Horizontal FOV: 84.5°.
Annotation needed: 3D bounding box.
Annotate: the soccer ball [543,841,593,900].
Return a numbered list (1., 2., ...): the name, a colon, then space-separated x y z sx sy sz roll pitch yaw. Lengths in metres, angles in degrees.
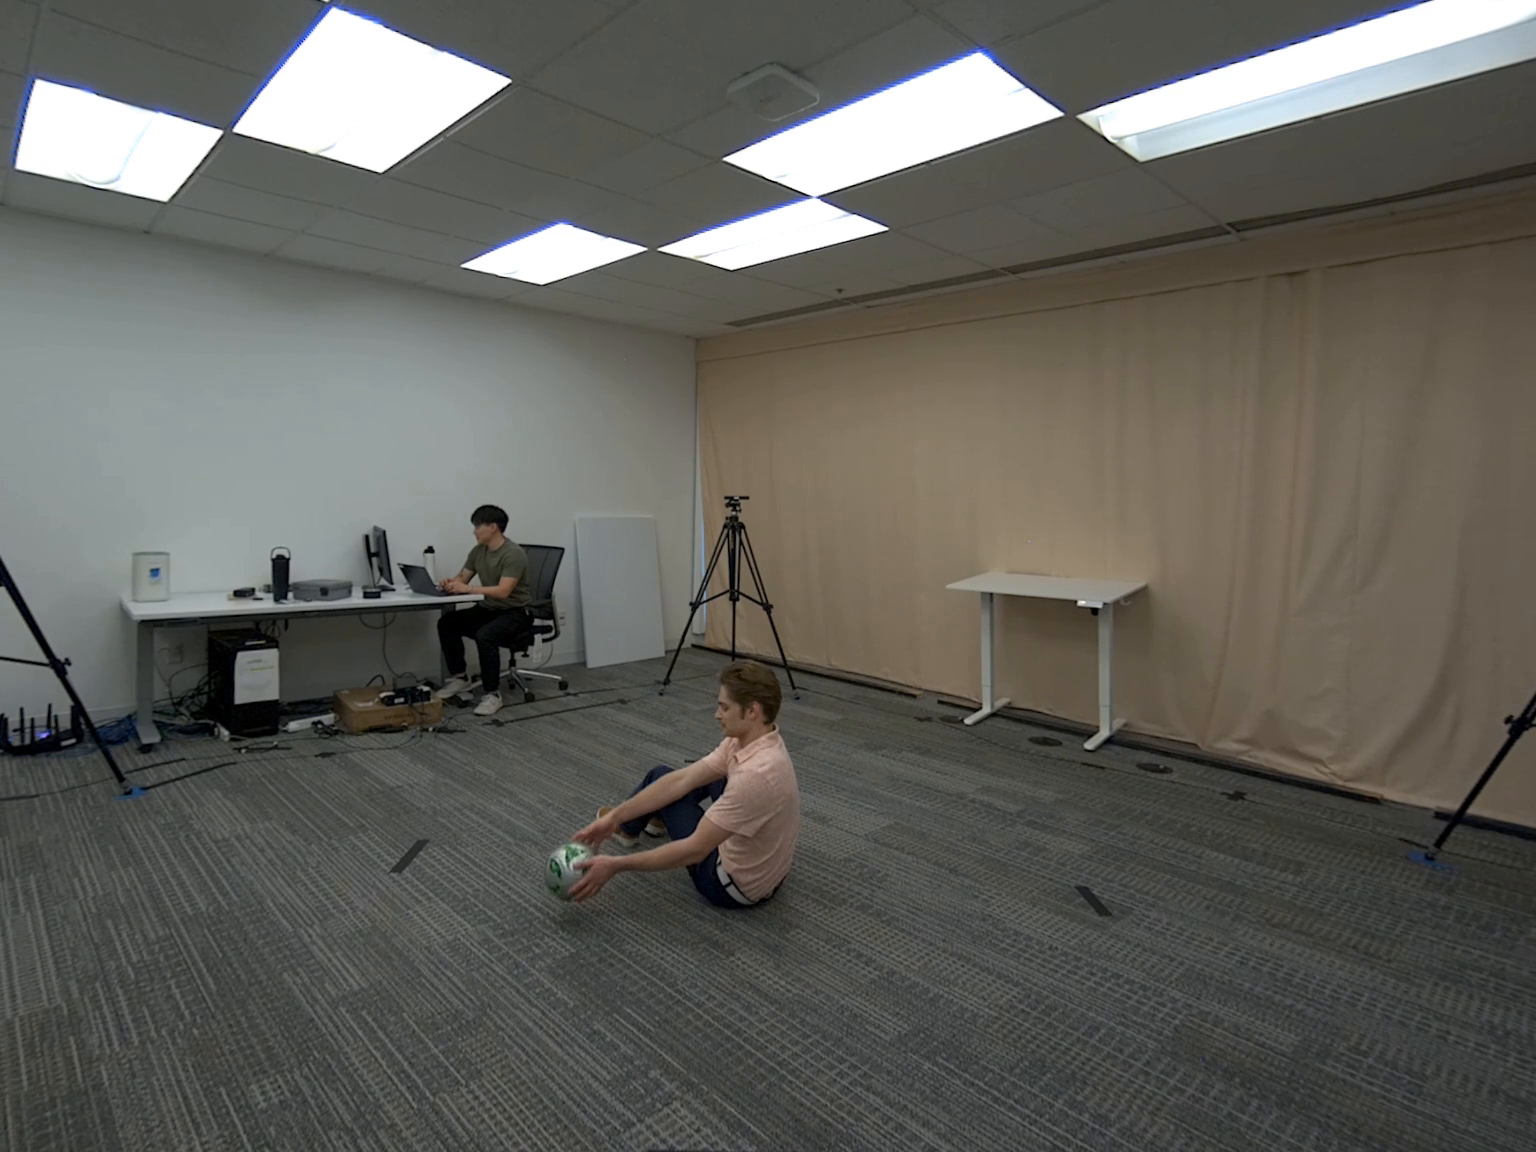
1. soccer ball: -0.642 0.947 2.769 0.187 0.187 0.188 1 4 -1
